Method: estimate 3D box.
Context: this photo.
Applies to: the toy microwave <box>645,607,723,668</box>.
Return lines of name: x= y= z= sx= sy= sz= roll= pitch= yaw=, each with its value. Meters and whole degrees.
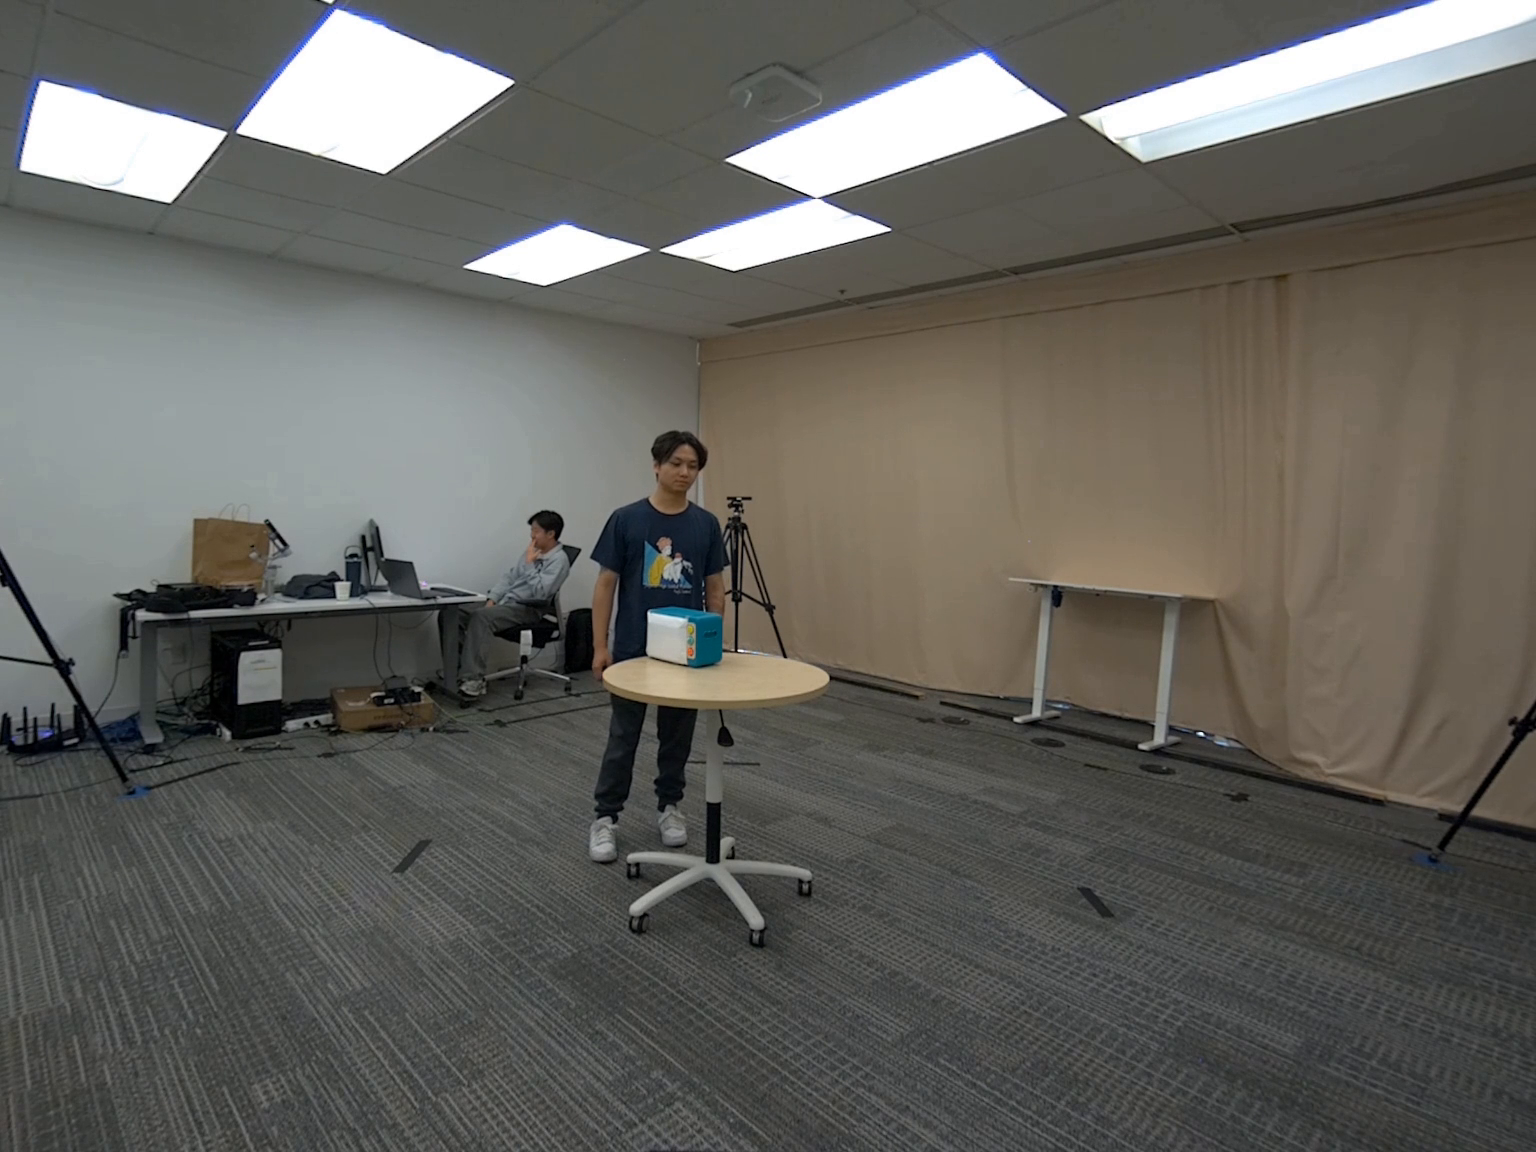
toy microwave: x=-0.320 y=0.220 z=3.046 sx=0.293 sy=0.183 sz=0.149 roll=6 pitch=6 yaw=43
